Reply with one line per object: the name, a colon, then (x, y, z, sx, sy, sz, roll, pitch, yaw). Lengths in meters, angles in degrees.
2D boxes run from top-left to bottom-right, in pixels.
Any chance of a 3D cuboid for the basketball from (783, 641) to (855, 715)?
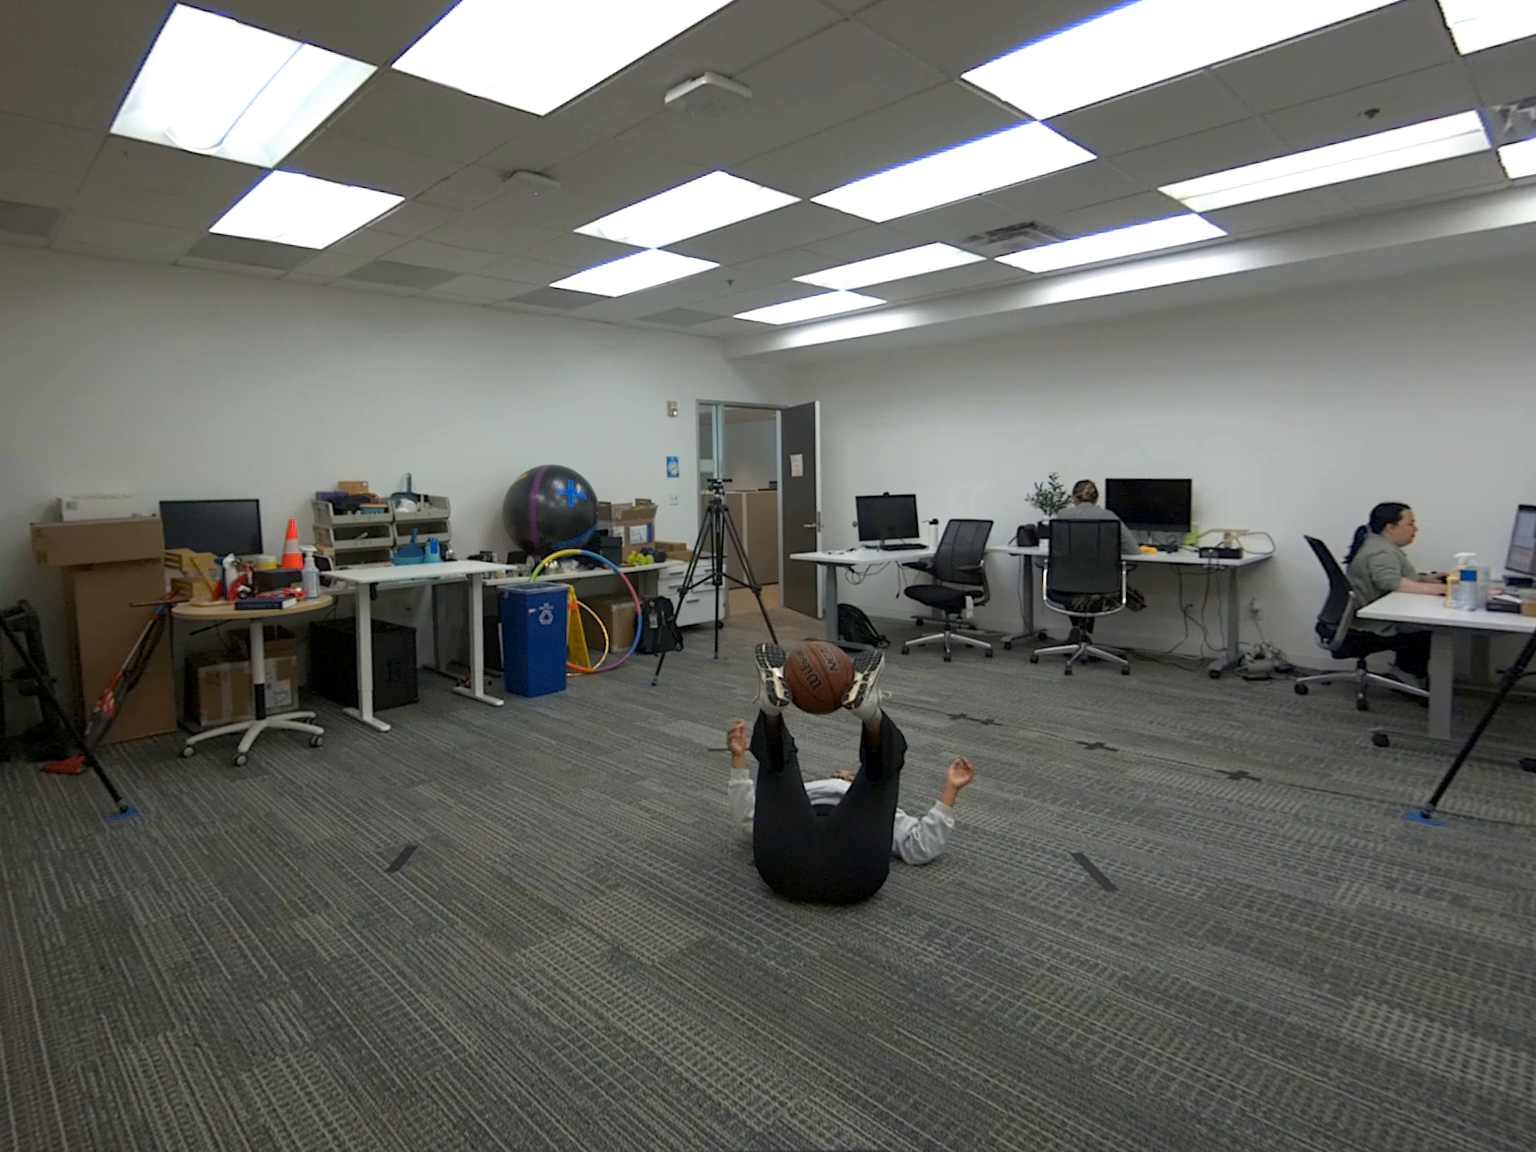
basketball: (0.170, 0.326, 2.811, 0.236, 0.235, 0.236, -4, 2, -2)
